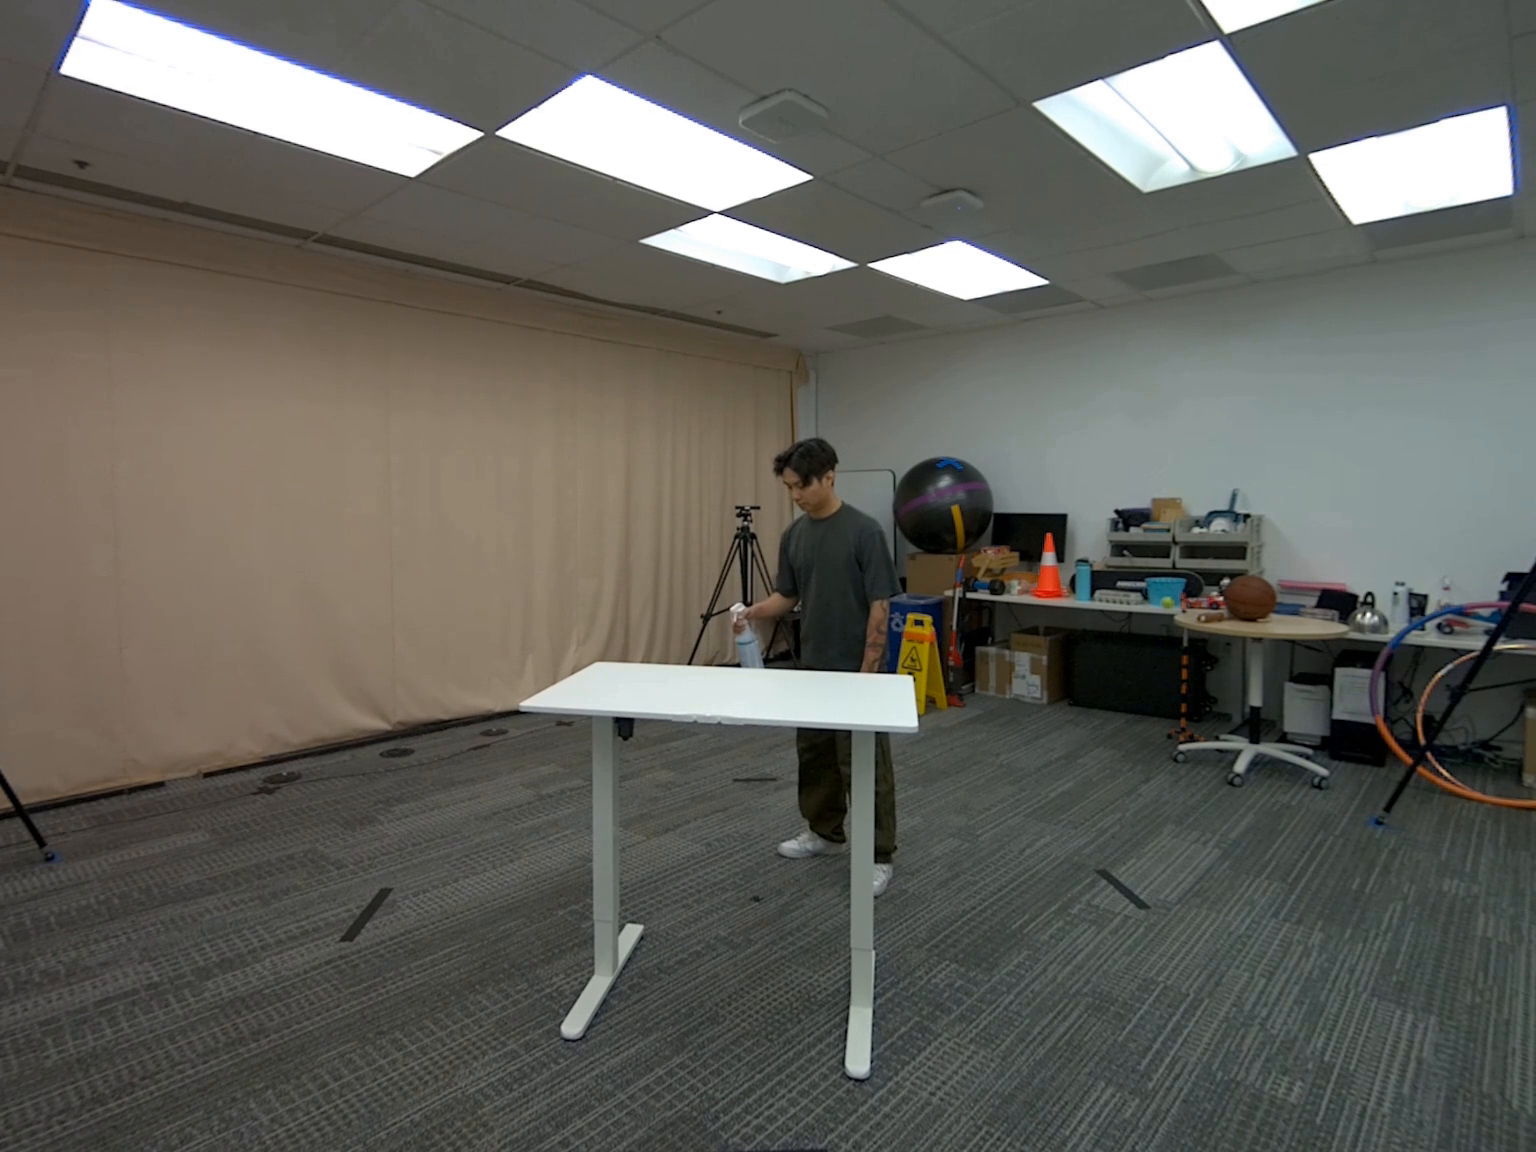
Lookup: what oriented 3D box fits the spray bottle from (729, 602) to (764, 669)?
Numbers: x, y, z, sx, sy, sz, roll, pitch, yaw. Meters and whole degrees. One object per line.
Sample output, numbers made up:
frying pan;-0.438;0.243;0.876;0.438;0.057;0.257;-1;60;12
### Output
spray bottle;-0.079;0.250;3.206;0.088;0.293;0.090;-23;19;-30
